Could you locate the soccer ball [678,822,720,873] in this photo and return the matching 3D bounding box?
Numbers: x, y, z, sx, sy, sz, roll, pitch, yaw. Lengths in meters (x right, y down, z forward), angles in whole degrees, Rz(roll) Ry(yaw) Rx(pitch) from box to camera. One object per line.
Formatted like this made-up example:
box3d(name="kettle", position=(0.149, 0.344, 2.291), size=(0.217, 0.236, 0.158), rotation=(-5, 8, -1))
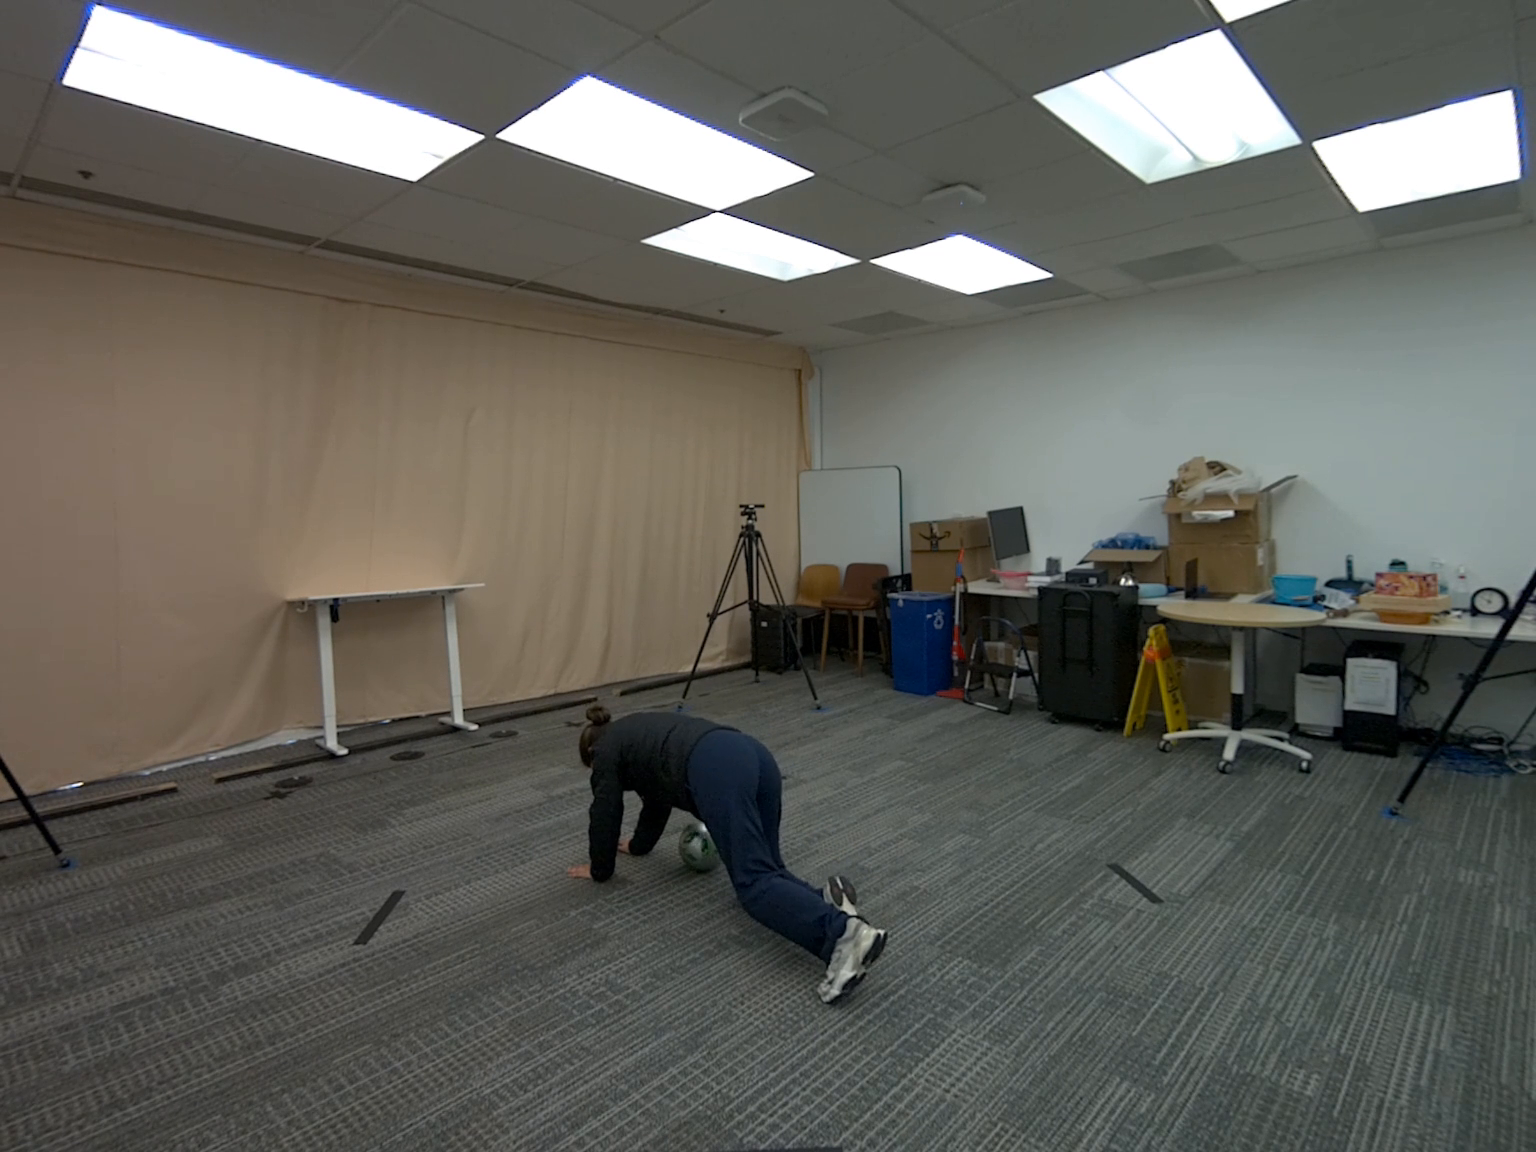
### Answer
box3d(name="soccer ball", position=(-0.242, 1.026, 3.222), size=(0.187, 0.187, 0.188), rotation=(-1, 4, -2))
